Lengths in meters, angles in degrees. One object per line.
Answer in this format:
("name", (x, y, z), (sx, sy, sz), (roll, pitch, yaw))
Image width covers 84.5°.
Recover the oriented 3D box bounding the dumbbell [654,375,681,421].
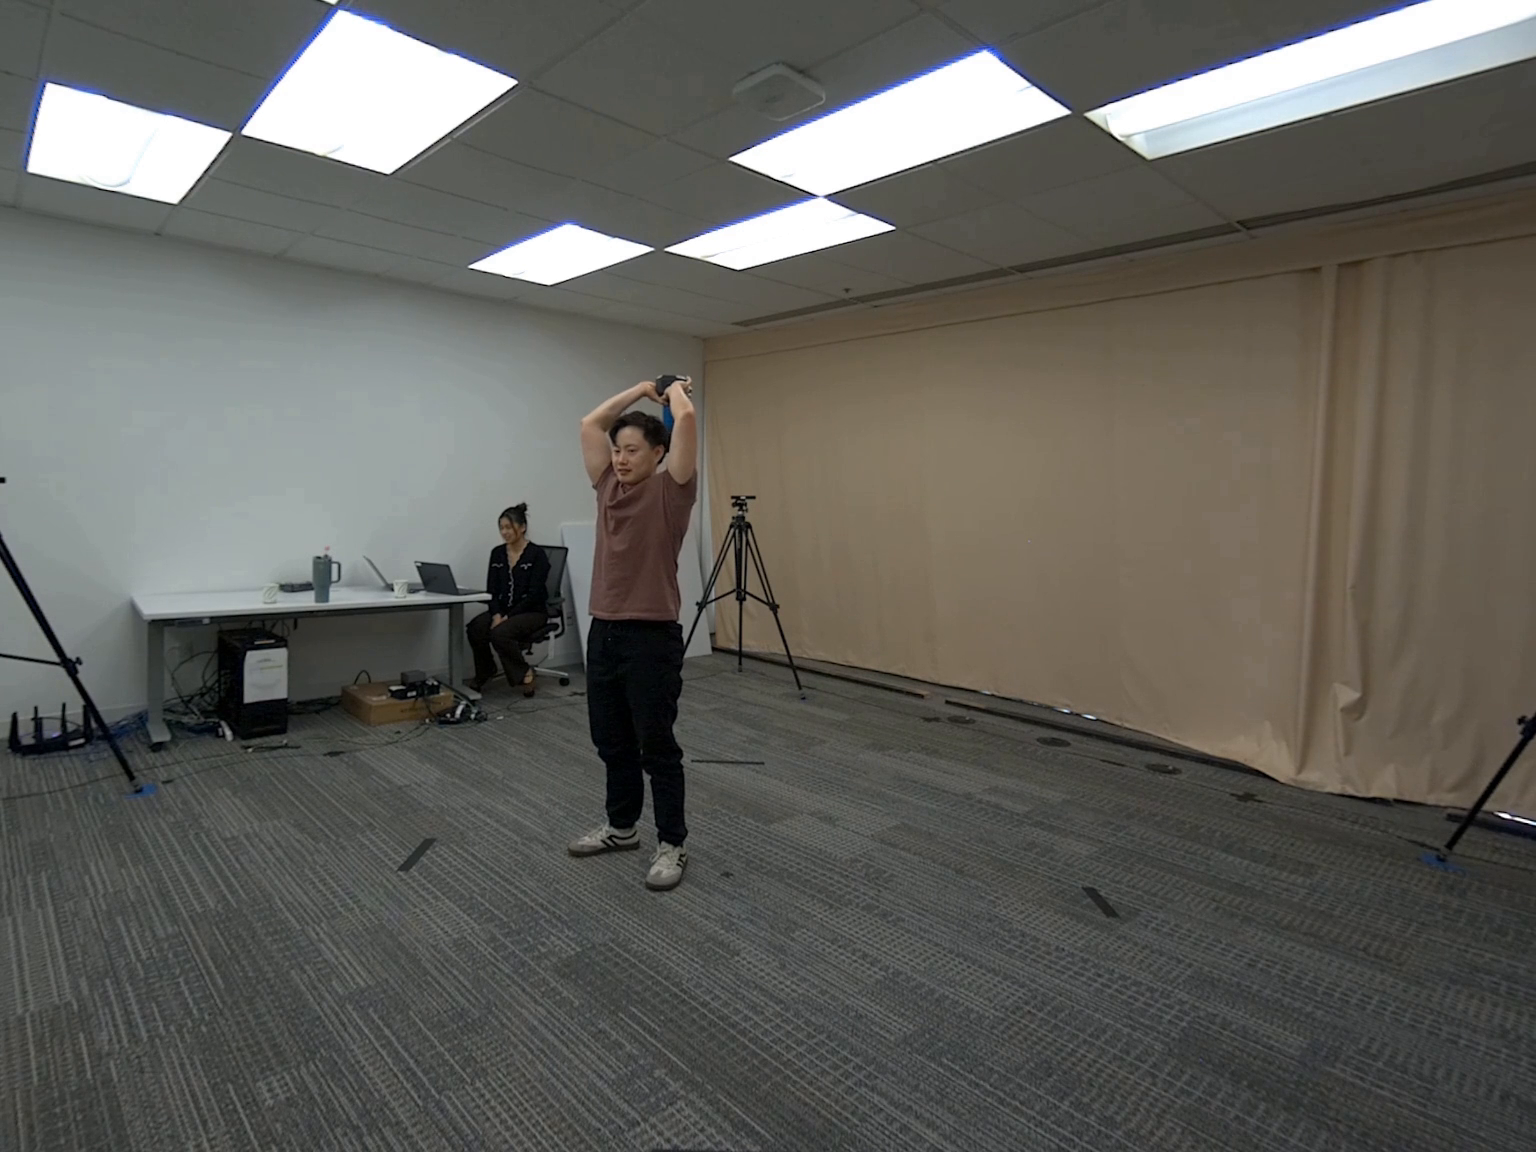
("dumbbell", (-0.387, -0.622, 3.244), (0.111, 0.292, 0.120), (5, 6, 42))
